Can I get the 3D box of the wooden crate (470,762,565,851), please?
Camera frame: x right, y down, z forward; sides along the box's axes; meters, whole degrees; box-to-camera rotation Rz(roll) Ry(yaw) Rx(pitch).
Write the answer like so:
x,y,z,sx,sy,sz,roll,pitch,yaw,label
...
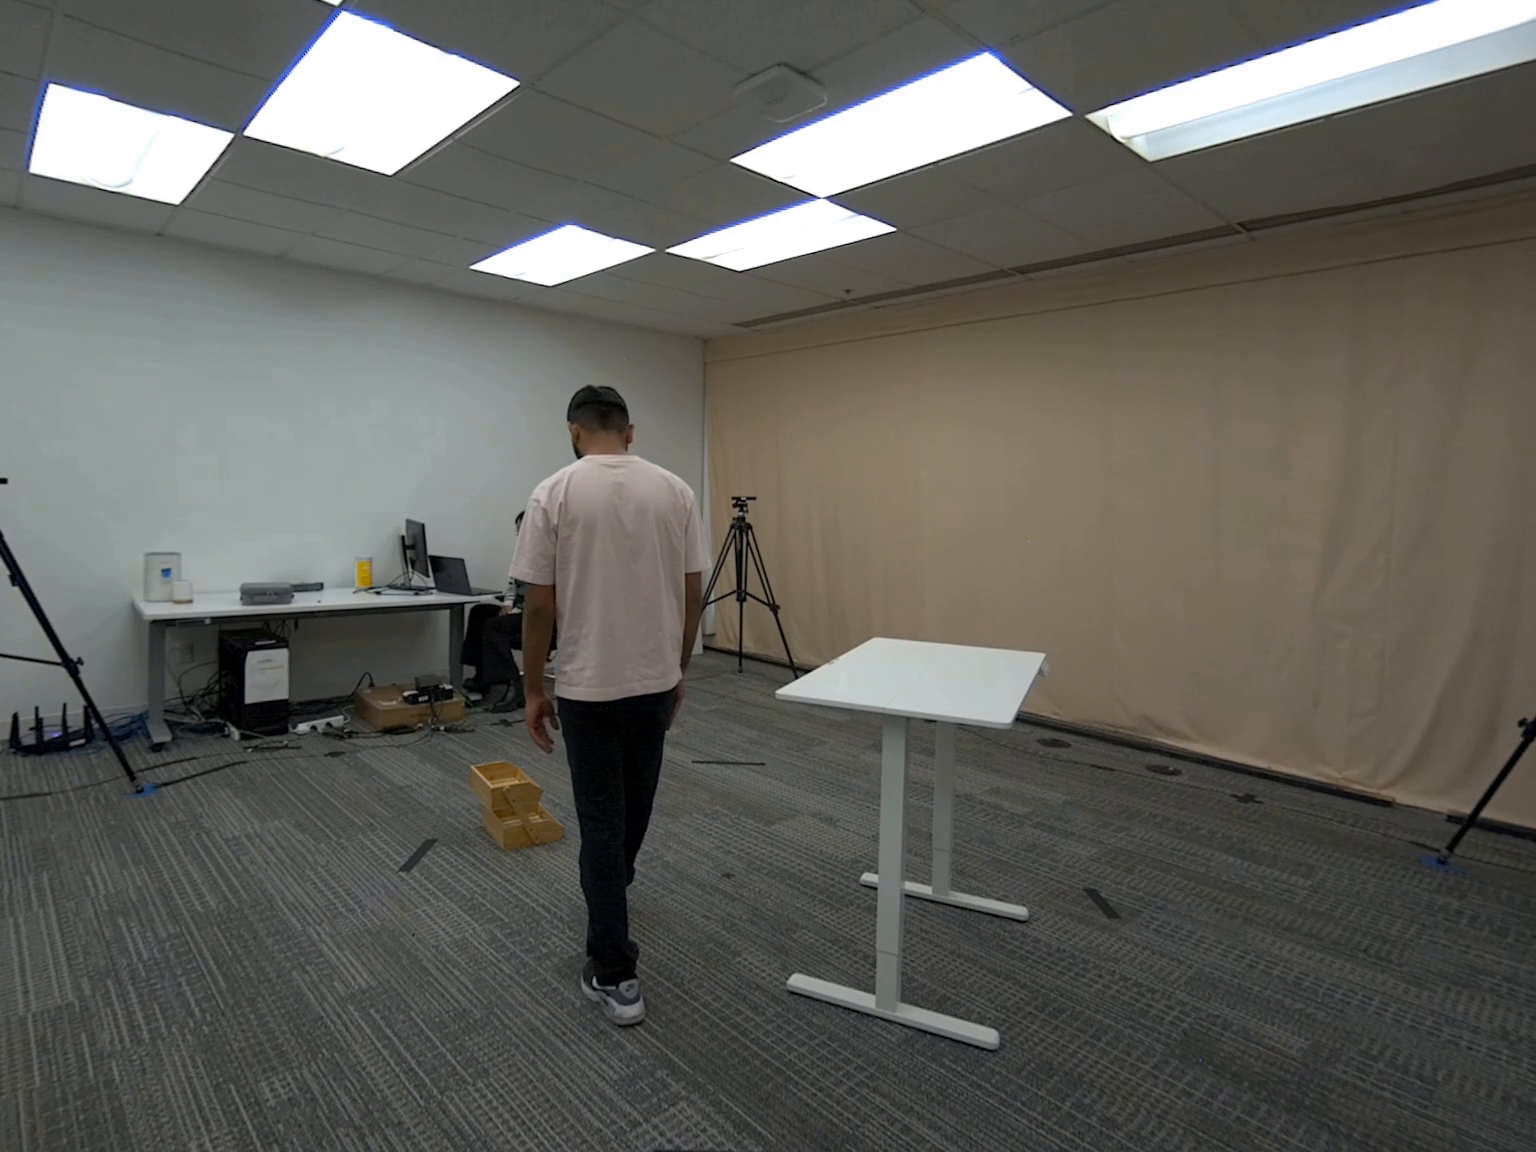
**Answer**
x,y,z,sx,sy,sz,roll,pitch,yaw,label
-1.038,0.922,3.444,0.295,0.272,0.332,-2,6,-34,wooden crate
